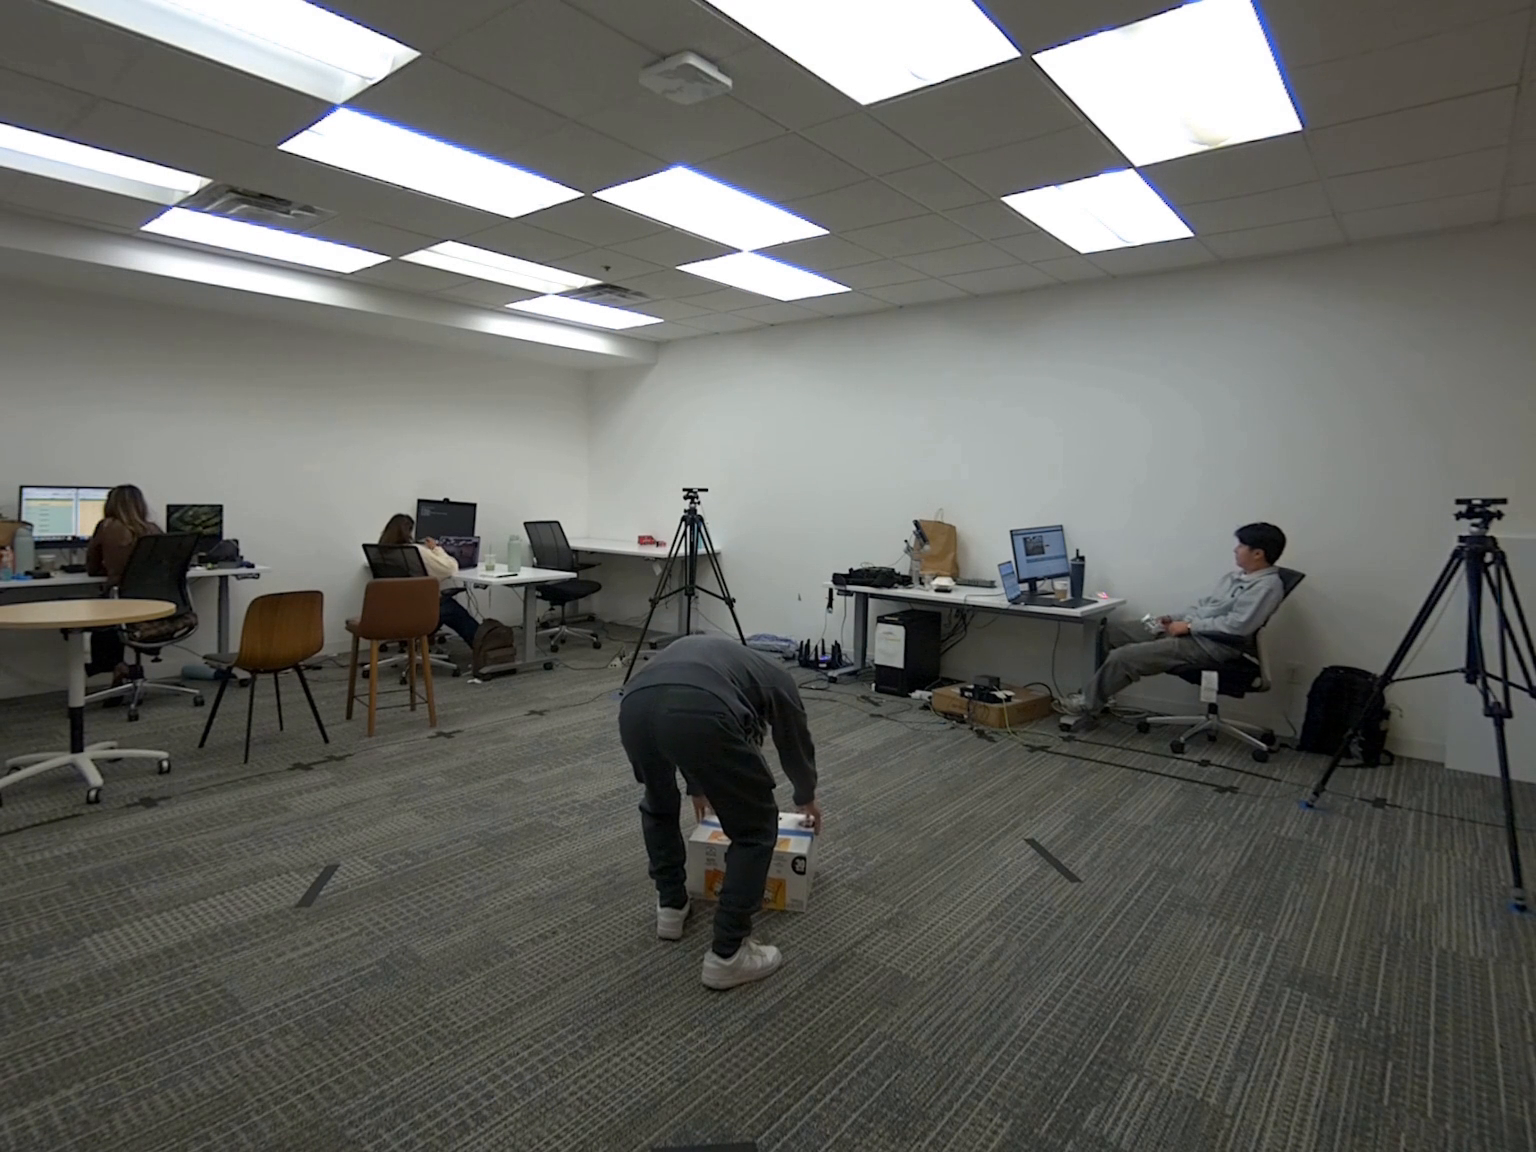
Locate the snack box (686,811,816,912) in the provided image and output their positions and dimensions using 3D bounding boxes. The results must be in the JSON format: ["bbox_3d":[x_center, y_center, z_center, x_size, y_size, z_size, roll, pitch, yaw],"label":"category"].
[{"bbox_3d":[-0.054,0.984,2.999,0.411,0.205,0.337,2,5,11],"label":"snack box"}]
